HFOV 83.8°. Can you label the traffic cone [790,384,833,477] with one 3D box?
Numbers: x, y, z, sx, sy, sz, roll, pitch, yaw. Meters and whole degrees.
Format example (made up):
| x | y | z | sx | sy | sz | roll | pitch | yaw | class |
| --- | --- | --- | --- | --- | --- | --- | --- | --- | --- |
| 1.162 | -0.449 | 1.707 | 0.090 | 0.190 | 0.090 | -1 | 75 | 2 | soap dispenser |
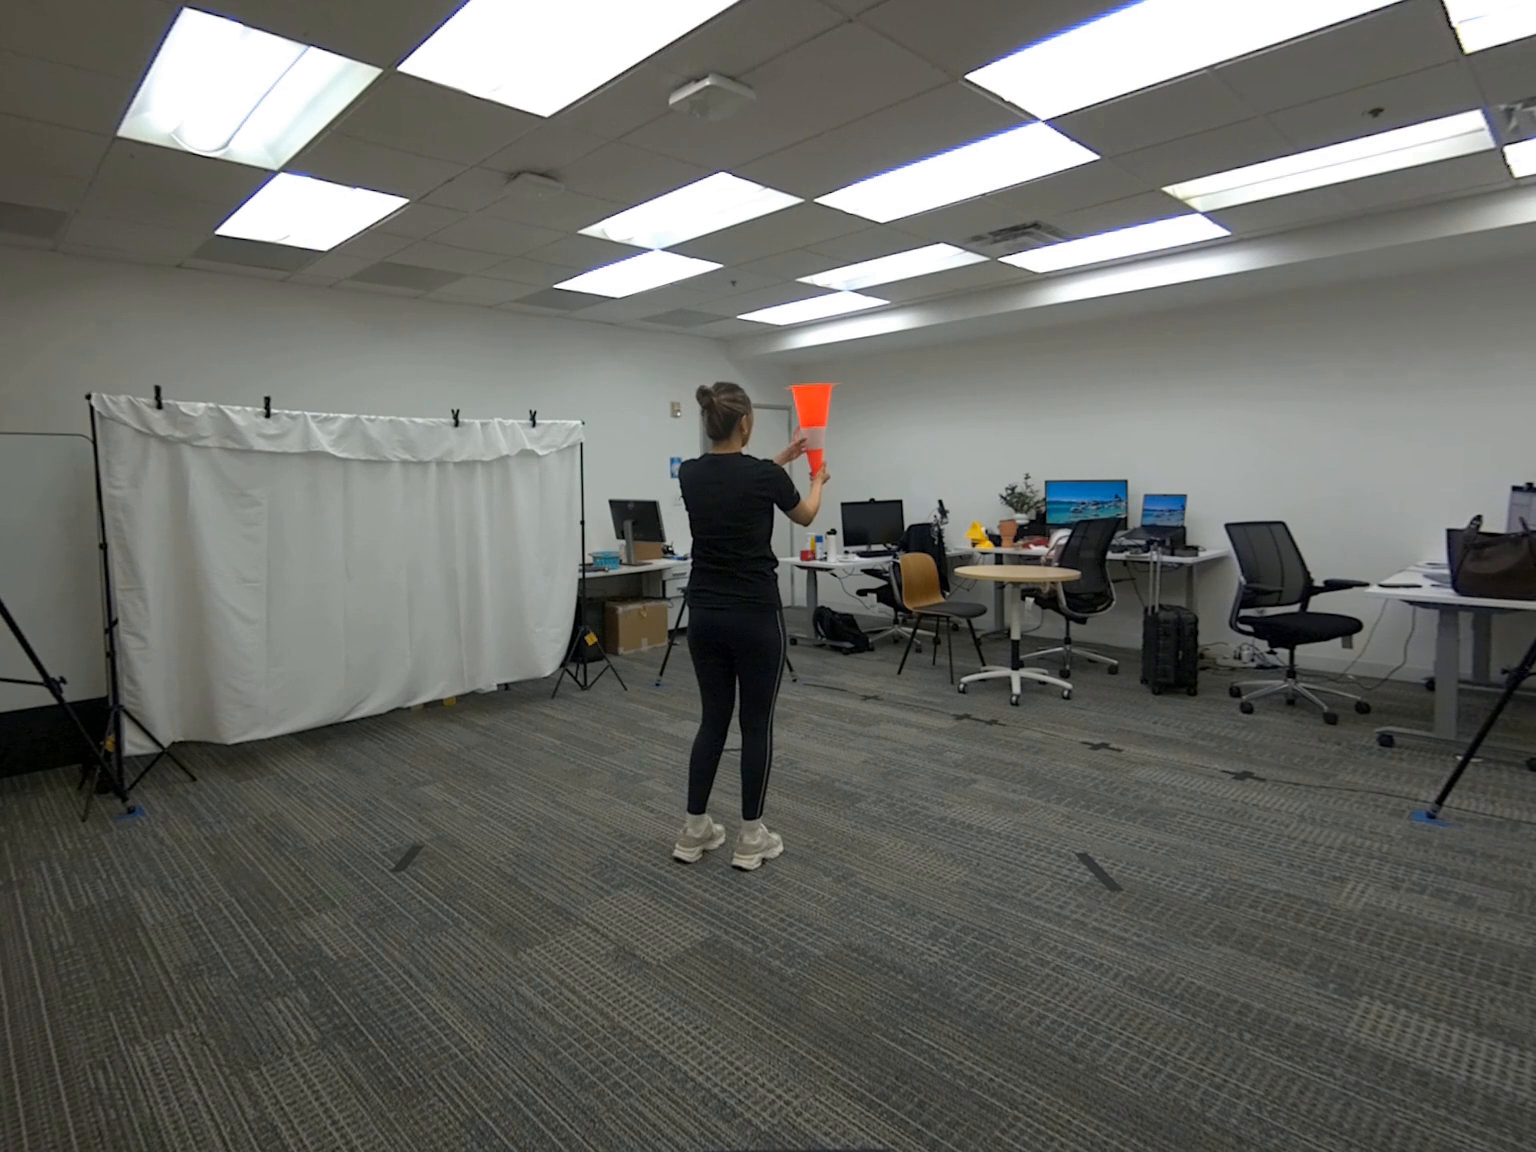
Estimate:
| x | y | z | sx | sy | sz | roll | pitch | yaw | class |
| --- | --- | --- | --- | --- | --- | --- | --- | --- | --- |
| 0.182 | -0.586 | 3.488 | 0.202 | 0.381 | 0.207 | -2 | 6 | -6 | traffic cone |
